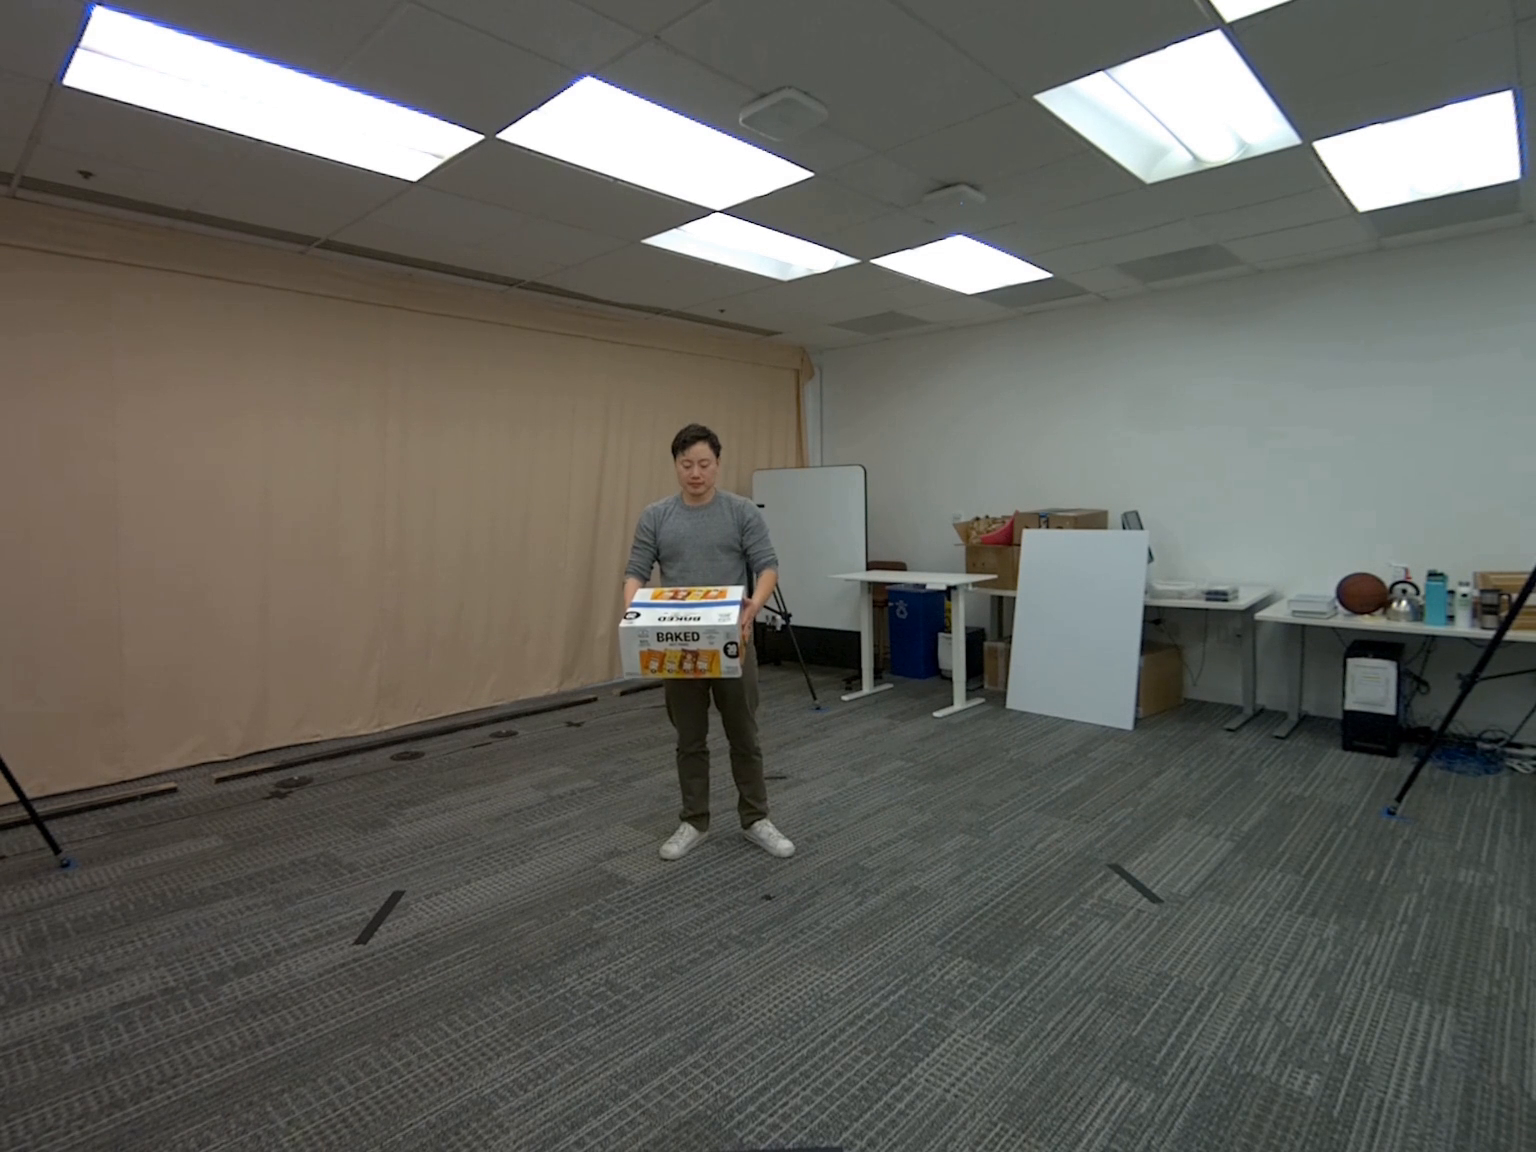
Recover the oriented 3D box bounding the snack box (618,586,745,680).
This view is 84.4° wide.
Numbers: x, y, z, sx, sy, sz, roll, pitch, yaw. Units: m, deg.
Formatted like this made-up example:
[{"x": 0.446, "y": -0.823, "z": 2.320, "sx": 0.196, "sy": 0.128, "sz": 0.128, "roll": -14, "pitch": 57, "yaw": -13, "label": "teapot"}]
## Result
[{"x": -0.292, "y": 0.193, "z": 2.992, "sx": 0.408, "sy": 0.203, "sz": 0.343, "roll": -1, "pitch": 20, "yaw": 5, "label": "snack box"}]
